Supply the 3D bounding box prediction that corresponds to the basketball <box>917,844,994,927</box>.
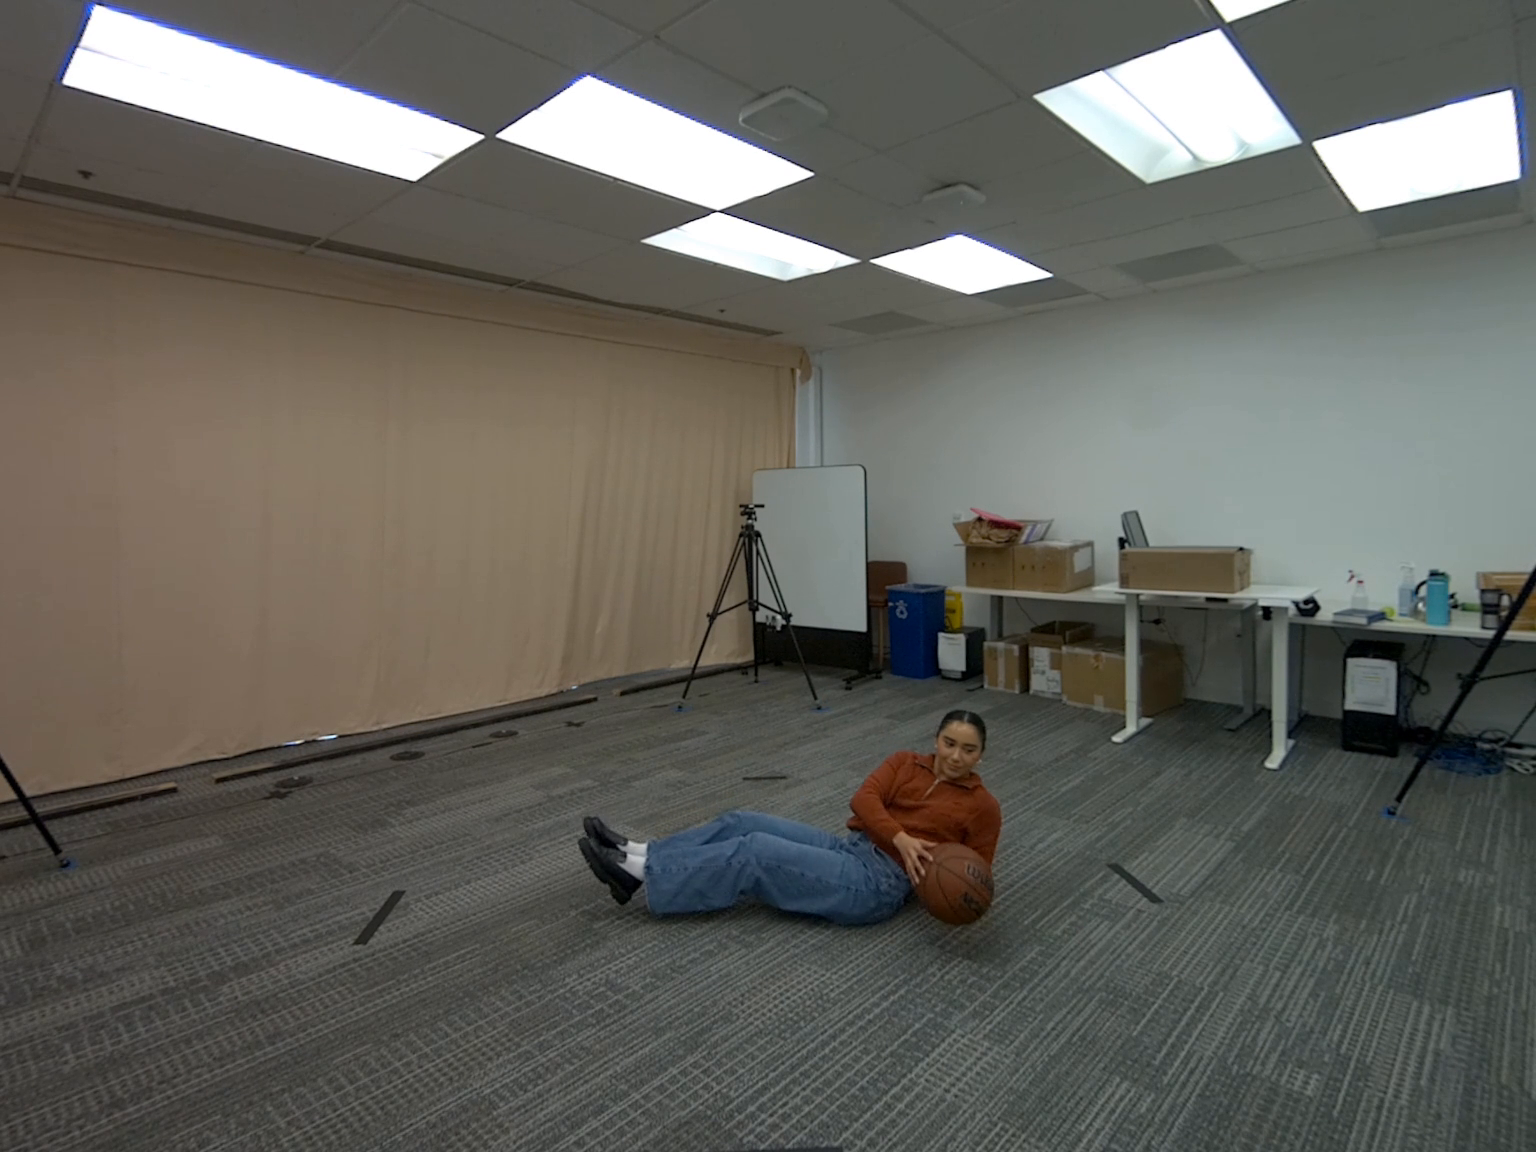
[{"bbox_3d":[0.555,0.913,2.602,0.236,0.235,0.237,-1,4,-2],"label":"basketball"}]
